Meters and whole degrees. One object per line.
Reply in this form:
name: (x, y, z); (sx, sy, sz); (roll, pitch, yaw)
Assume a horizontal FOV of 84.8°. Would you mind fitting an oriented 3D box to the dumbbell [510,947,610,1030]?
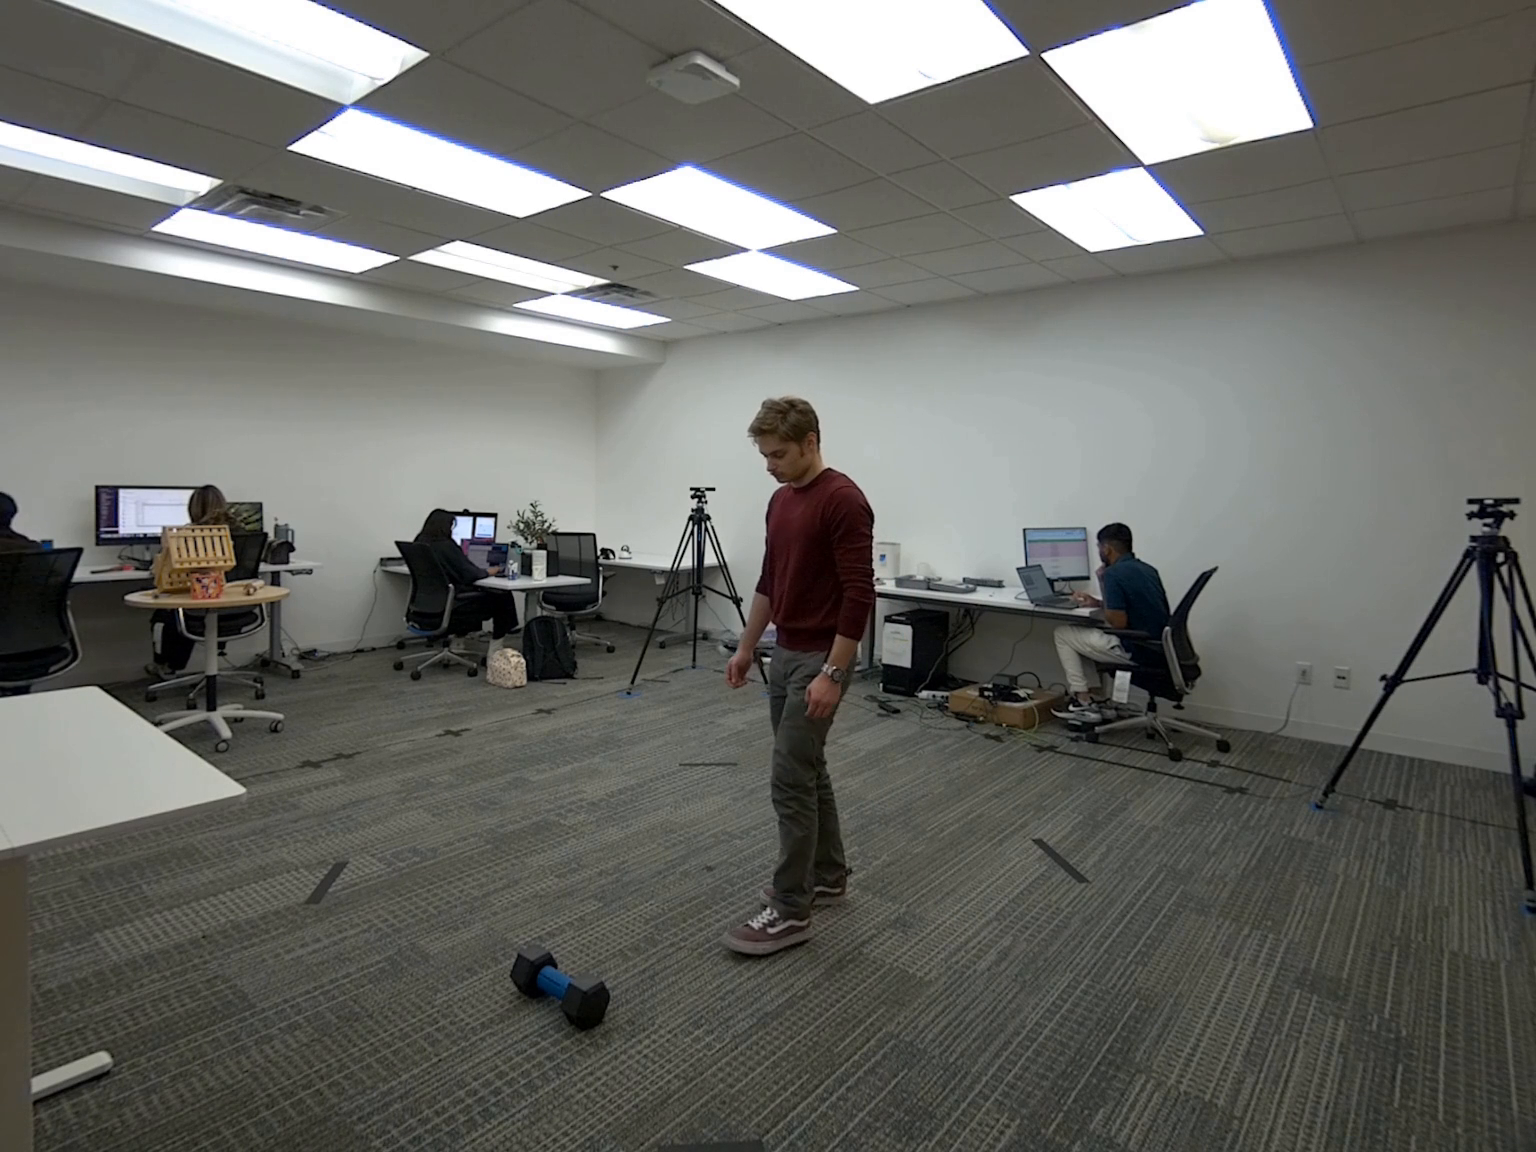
dumbbell: (-0.567, 1.092, 2.267); (0.303, 0.119, 0.108); (4, 37, 37)
